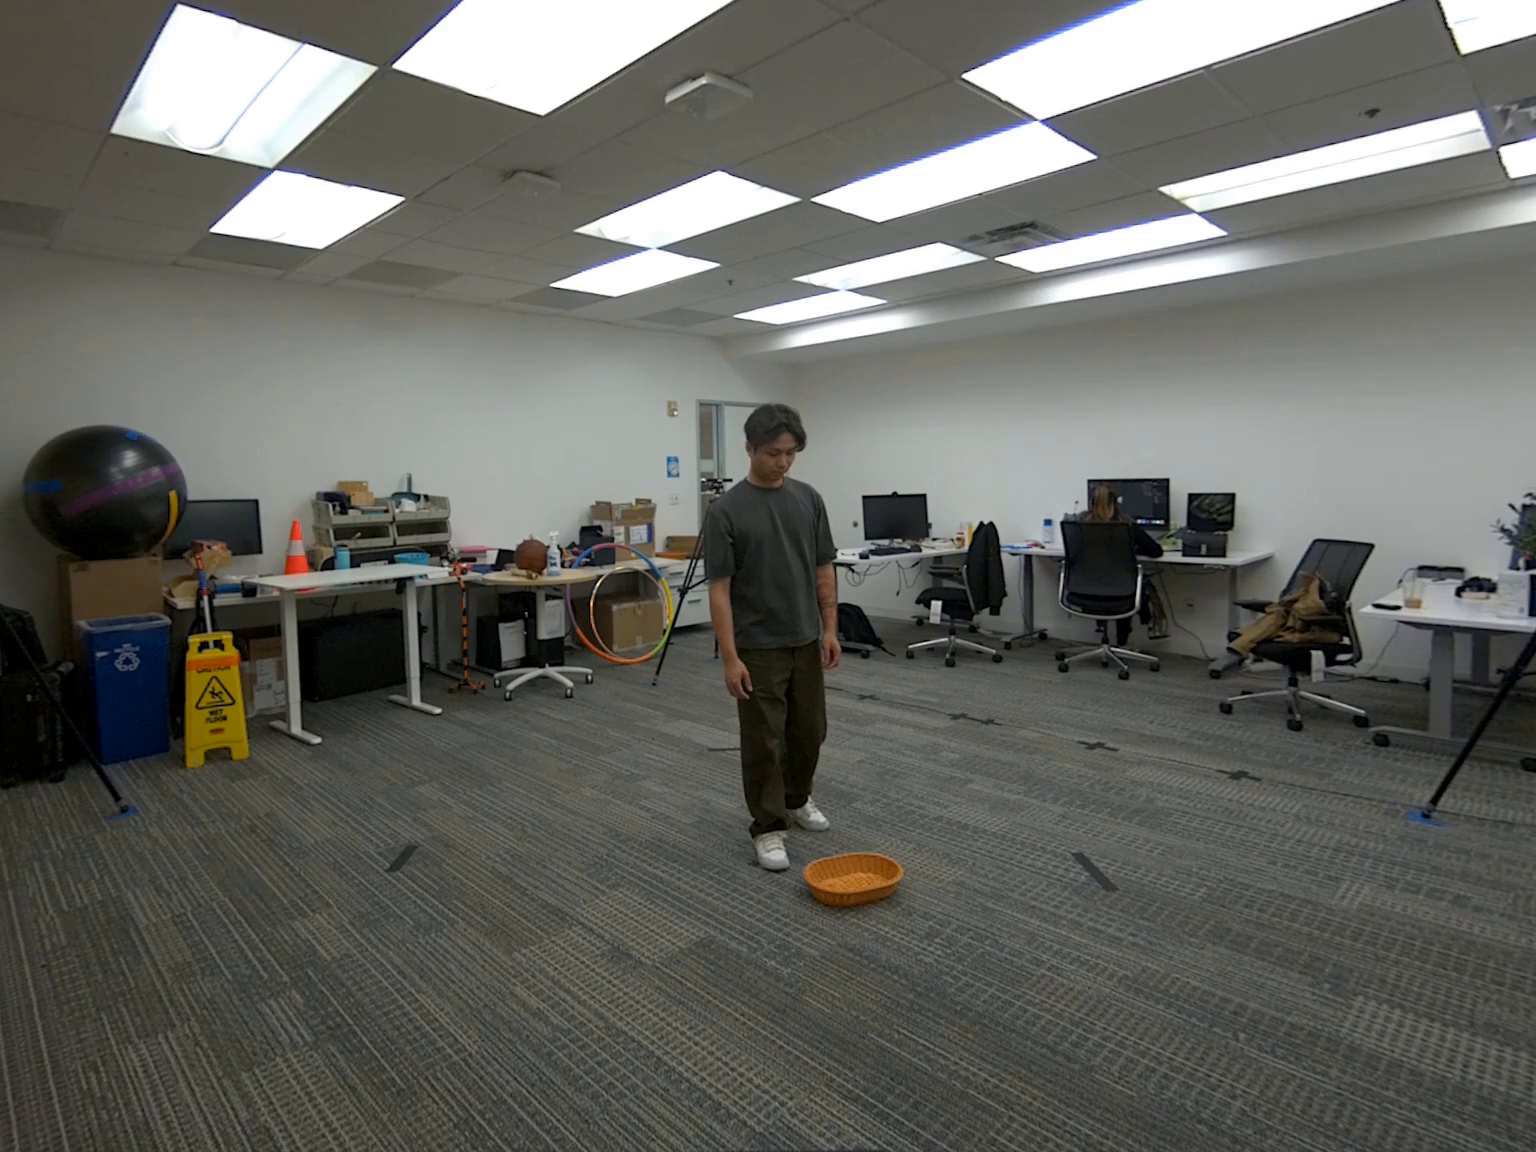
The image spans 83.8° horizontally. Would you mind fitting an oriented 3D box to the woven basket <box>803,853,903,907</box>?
[{"bbox_3d":[0.285,1.027,2.881,0.345,0.073,0.257,-3,7,-18],"label":"woven basket"}]
